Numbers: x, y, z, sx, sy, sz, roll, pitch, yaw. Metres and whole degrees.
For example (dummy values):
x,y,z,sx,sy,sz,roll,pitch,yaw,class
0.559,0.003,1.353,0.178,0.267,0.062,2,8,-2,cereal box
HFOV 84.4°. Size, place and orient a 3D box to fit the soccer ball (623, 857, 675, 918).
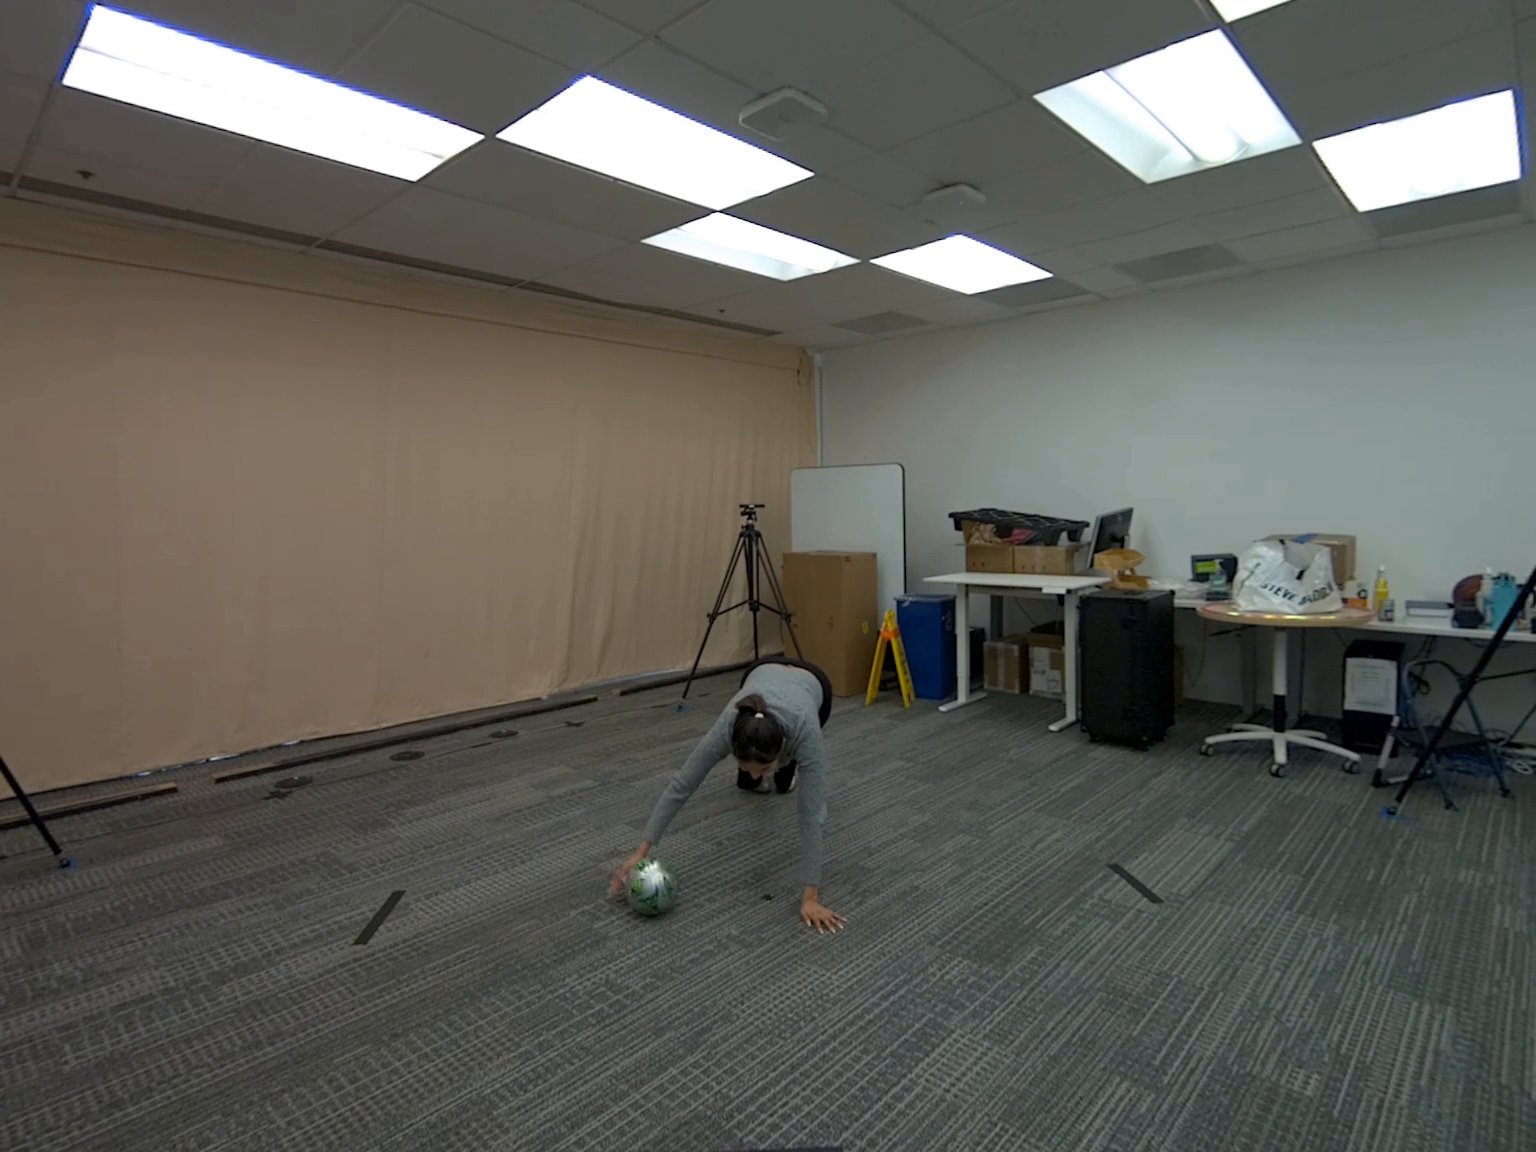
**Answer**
x,y,z,sx,sy,sz,roll,pitch,yaw,class
-0.393,1.064,2.888,0.187,0.187,0.188,-1,4,-2,soccer ball
